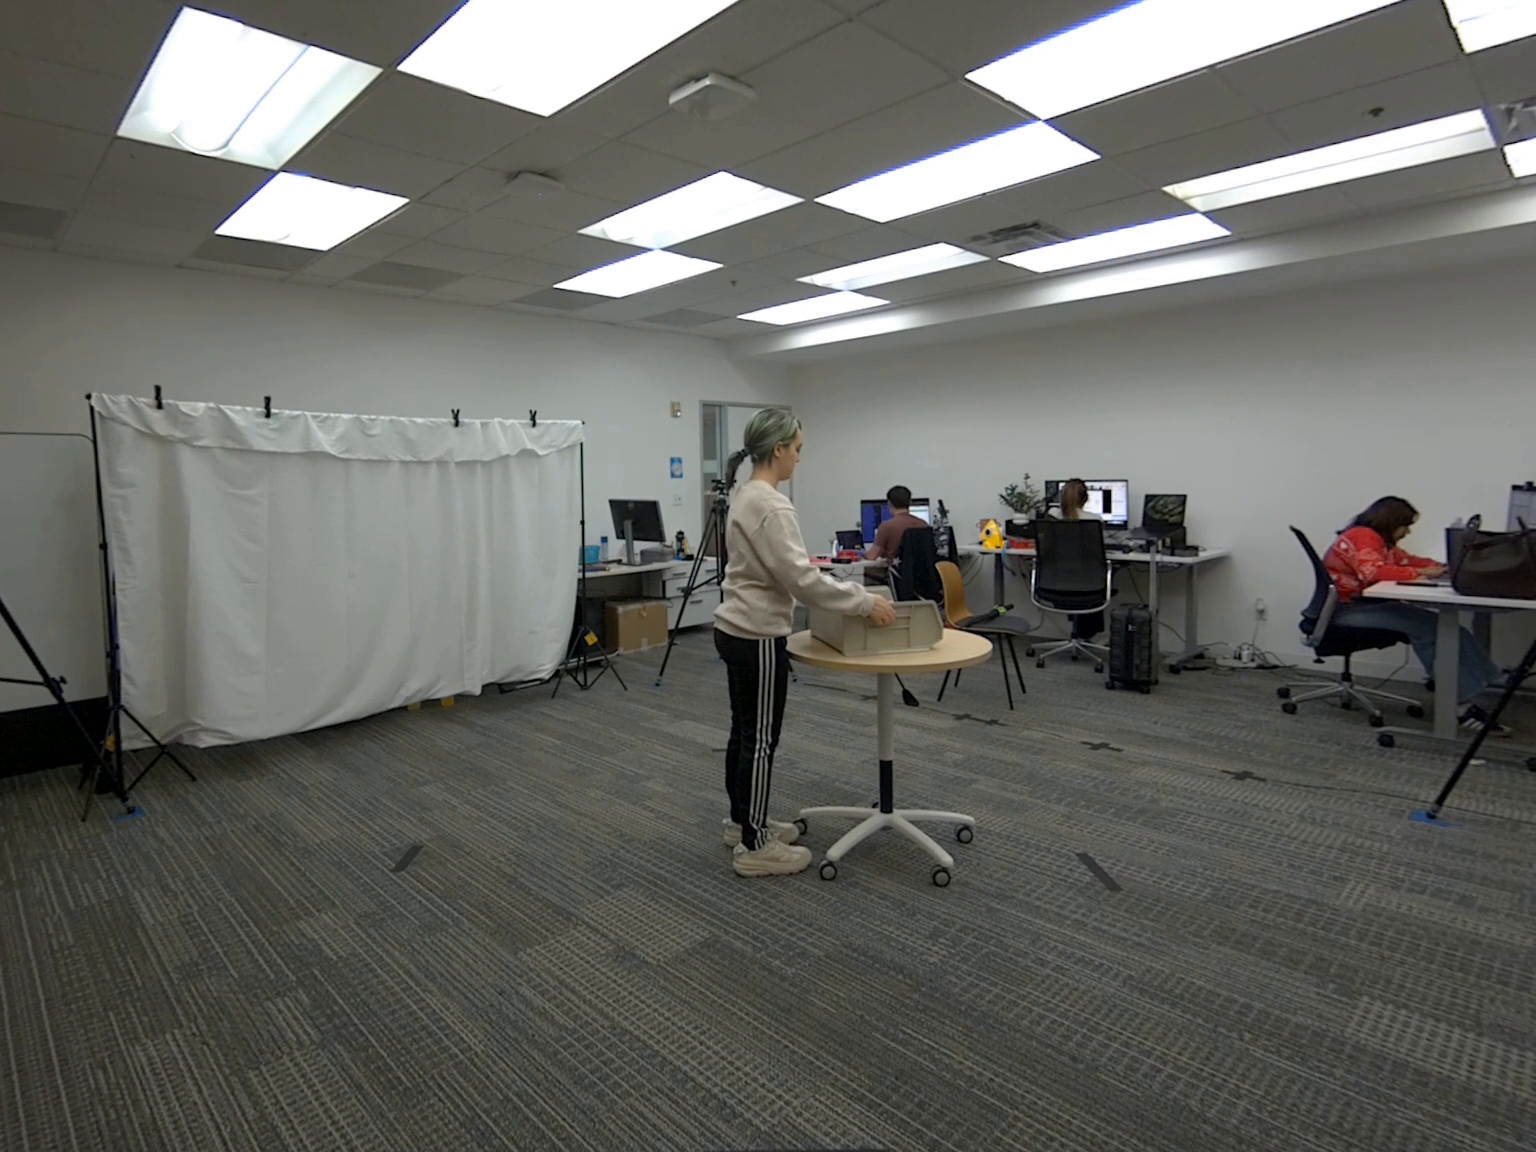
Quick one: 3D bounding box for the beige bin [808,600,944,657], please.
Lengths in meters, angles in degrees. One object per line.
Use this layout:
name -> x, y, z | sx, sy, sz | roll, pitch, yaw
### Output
beige bin -> 0.382, 0.158, 3.166 | 0.373, 0.188, 0.429 | -3, 7, -13
